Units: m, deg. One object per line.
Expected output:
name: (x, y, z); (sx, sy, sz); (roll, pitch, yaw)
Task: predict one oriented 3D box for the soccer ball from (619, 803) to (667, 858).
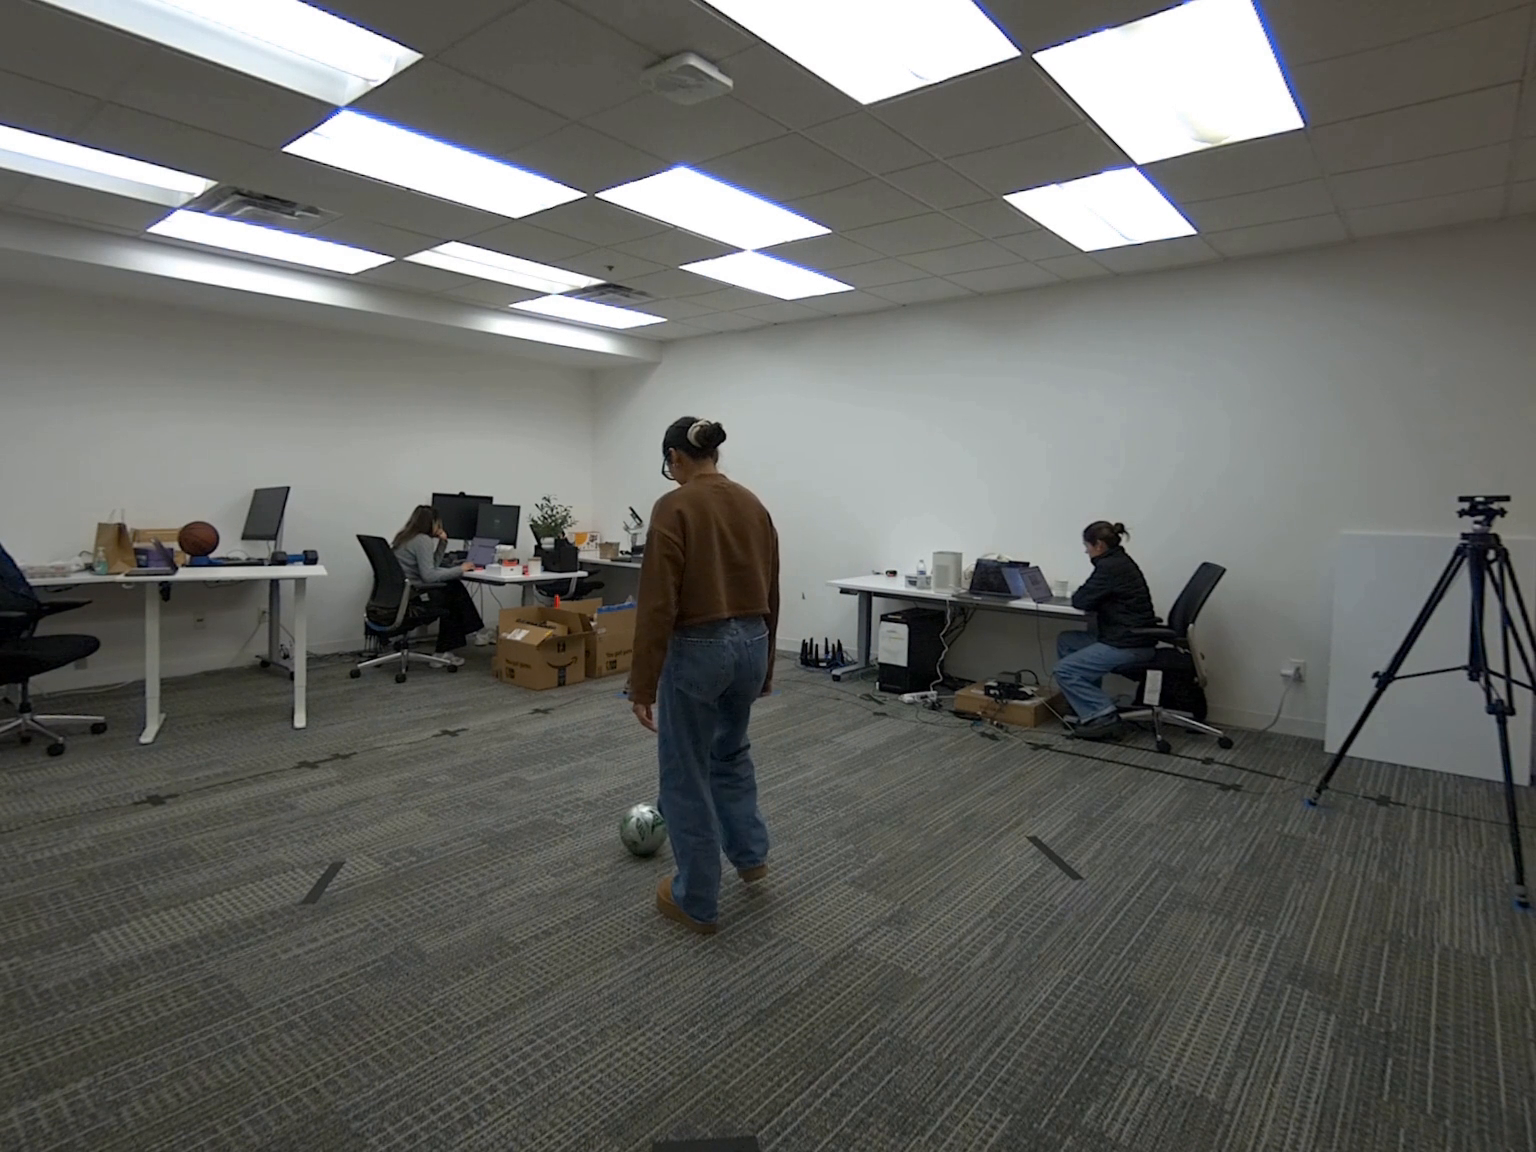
soccer ball: (-0.482, 0.956, 3.227); (0.187, 0.187, 0.188); (1, 4, -2)
